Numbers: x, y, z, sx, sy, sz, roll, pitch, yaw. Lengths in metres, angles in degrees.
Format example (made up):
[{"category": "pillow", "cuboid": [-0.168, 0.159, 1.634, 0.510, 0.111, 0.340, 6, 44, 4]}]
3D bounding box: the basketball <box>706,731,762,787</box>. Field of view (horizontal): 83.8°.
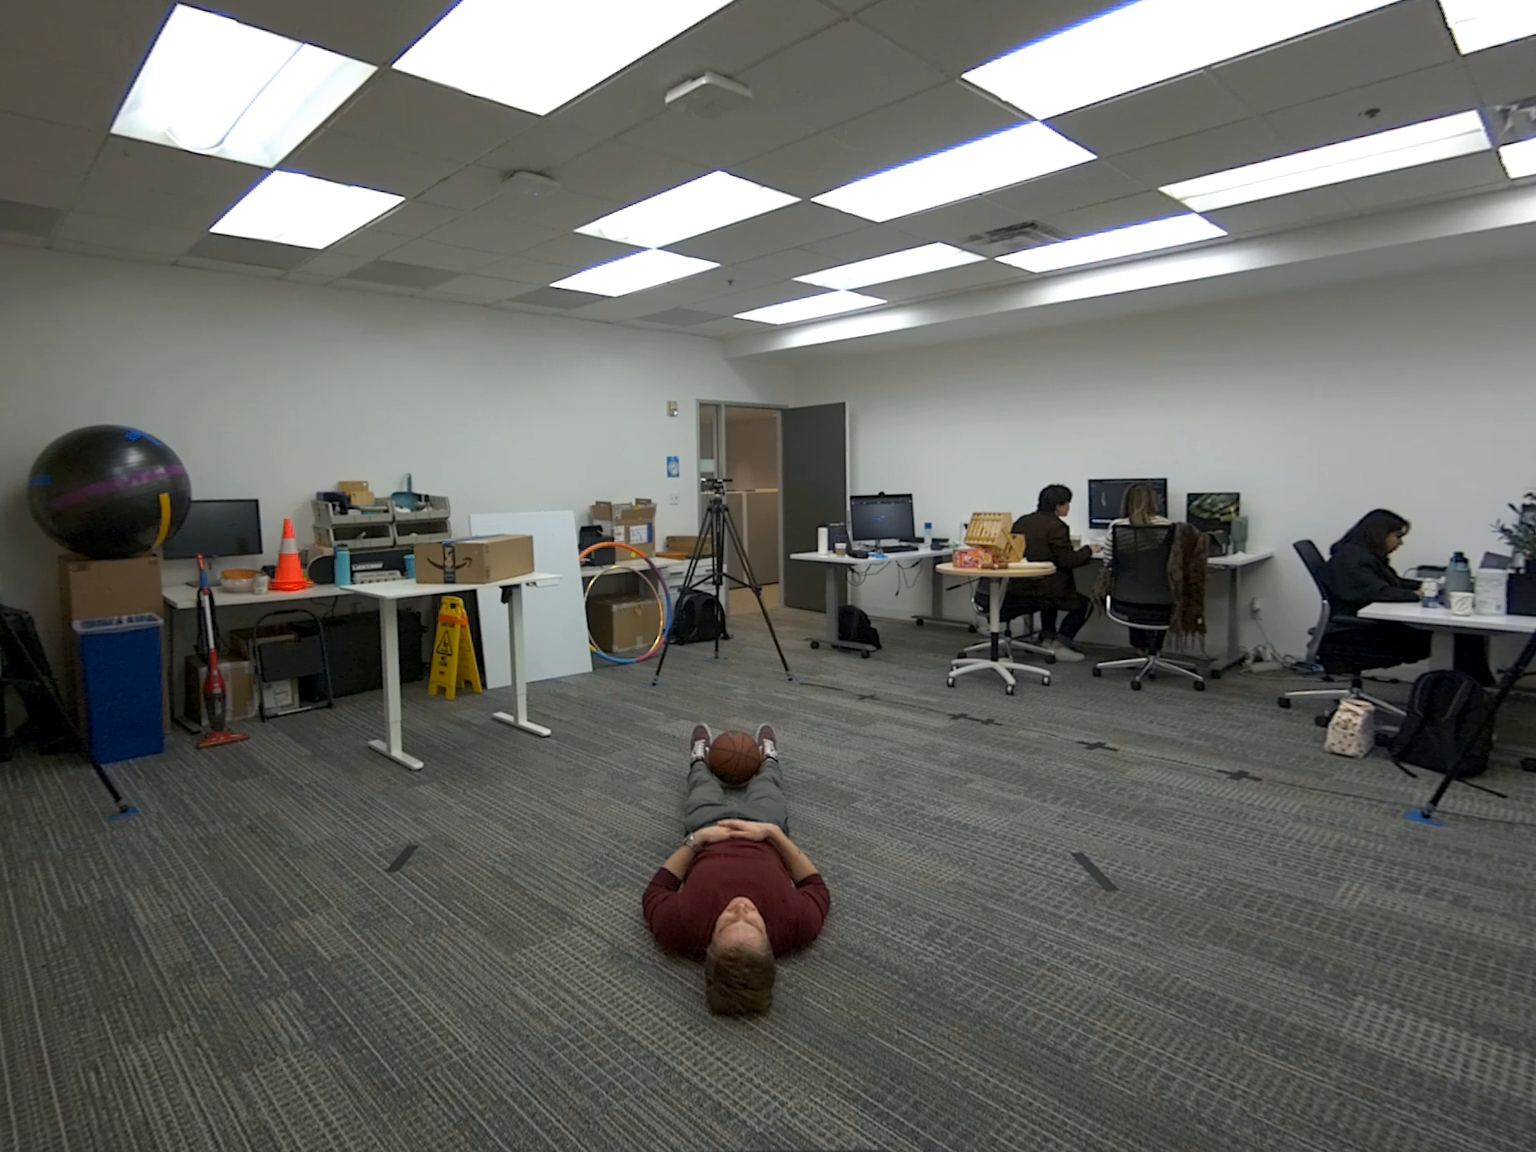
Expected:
[{"category": "basketball", "cuboid": [-0.150, 0.825, 3.885, 0.236, 0.236, 0.236, 0, 1, -2]}]
